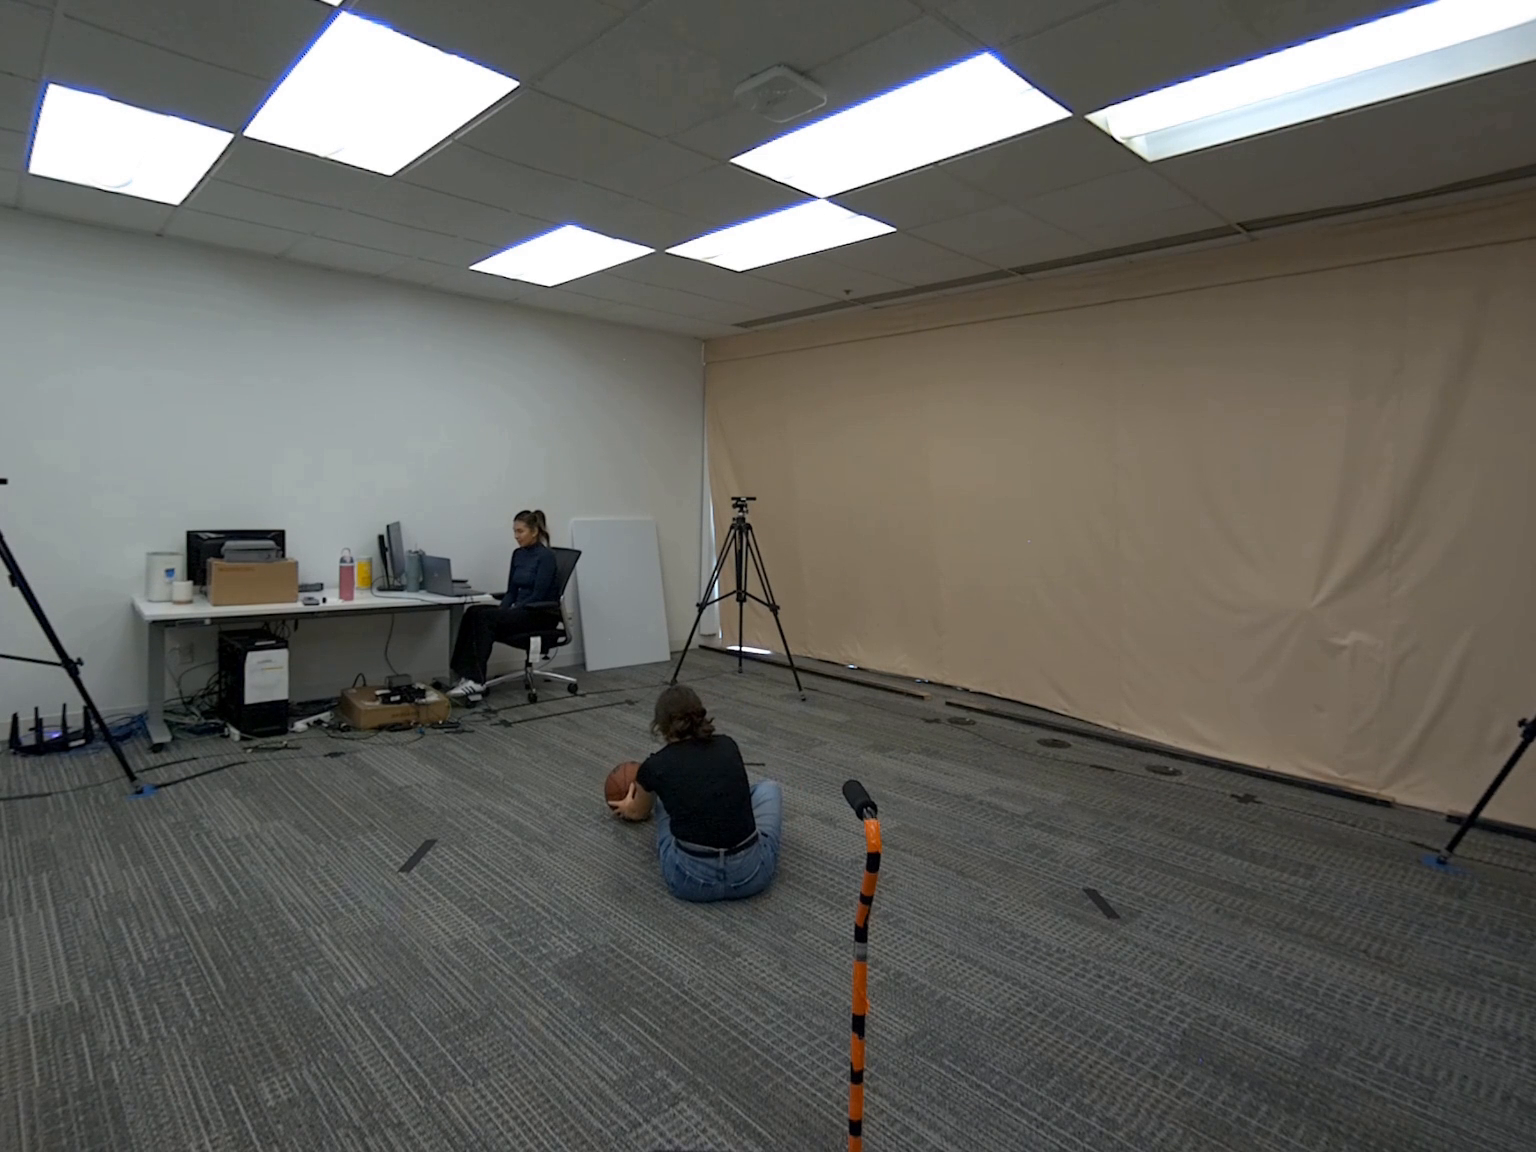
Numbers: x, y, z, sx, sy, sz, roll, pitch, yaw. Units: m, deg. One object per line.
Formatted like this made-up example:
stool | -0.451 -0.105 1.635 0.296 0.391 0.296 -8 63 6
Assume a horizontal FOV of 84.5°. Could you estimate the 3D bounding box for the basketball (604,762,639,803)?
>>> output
basketball | -0.604 0.929 3.662 0.236 0.235 0.237 1 4 -1
